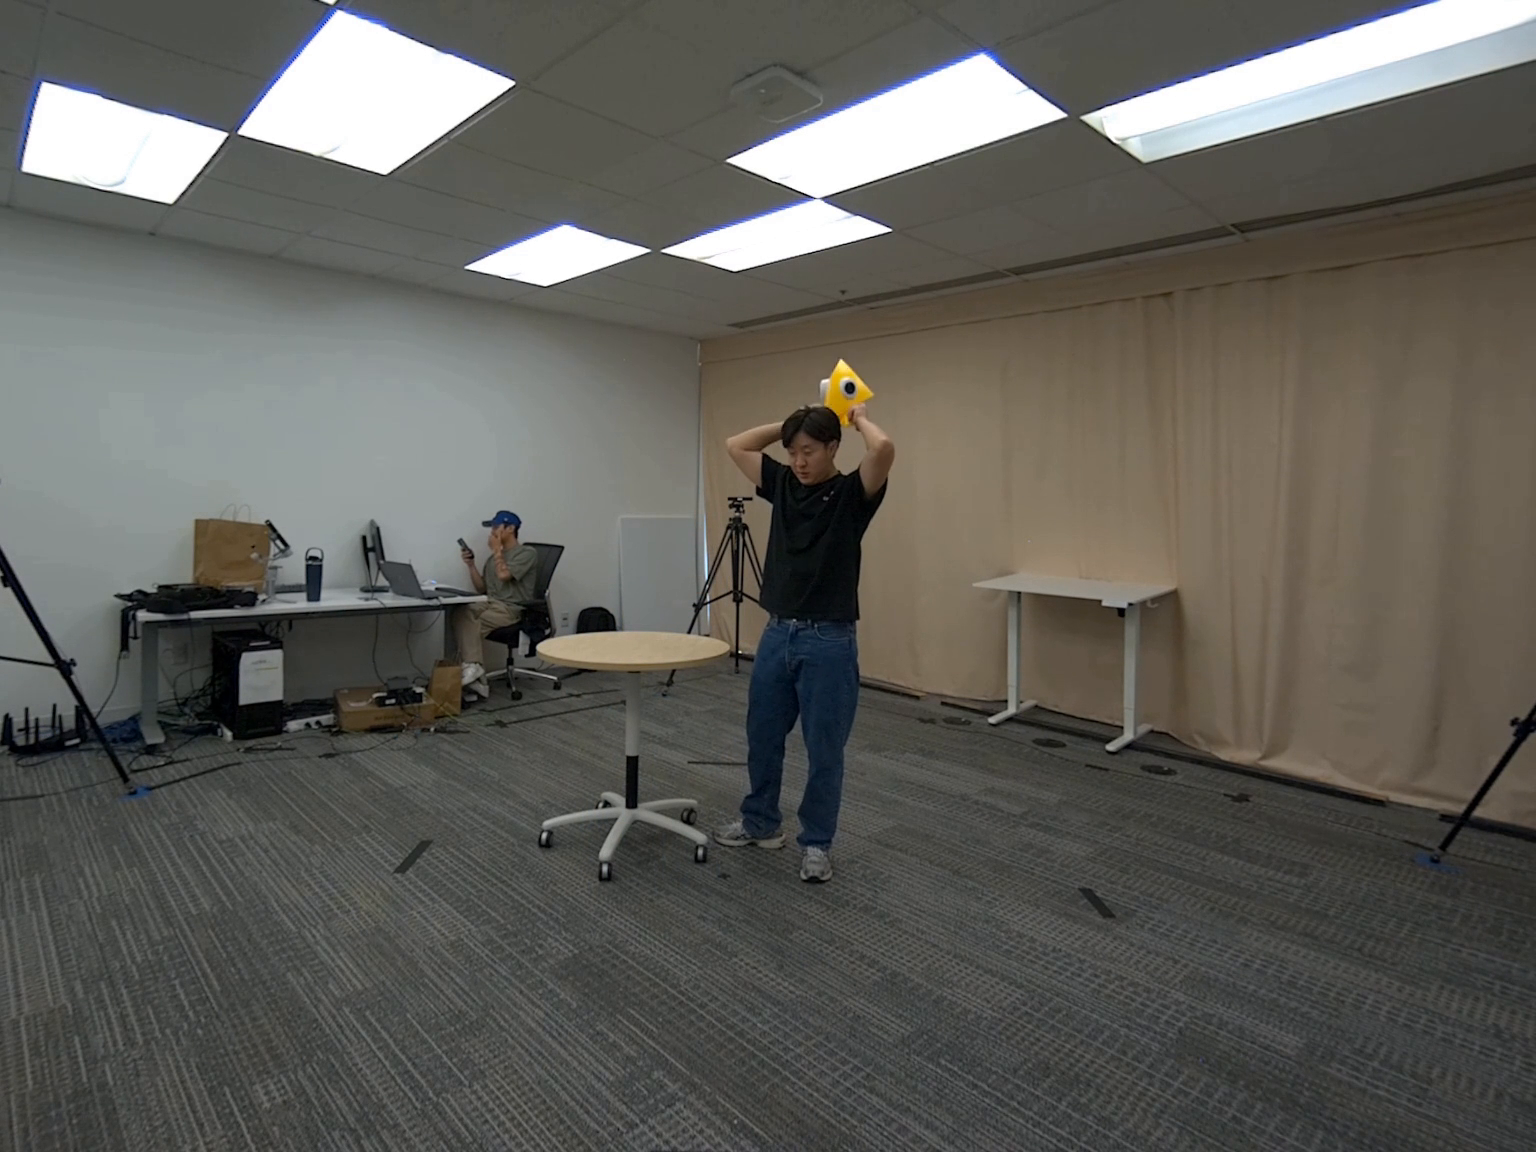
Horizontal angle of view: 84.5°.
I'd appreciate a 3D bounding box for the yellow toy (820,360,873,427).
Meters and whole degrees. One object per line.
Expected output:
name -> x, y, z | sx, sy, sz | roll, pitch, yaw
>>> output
yellow toy -> 0.242, -0.690, 3.172 | 0.210, 0.227, 0.191 | 4, 23, 38
